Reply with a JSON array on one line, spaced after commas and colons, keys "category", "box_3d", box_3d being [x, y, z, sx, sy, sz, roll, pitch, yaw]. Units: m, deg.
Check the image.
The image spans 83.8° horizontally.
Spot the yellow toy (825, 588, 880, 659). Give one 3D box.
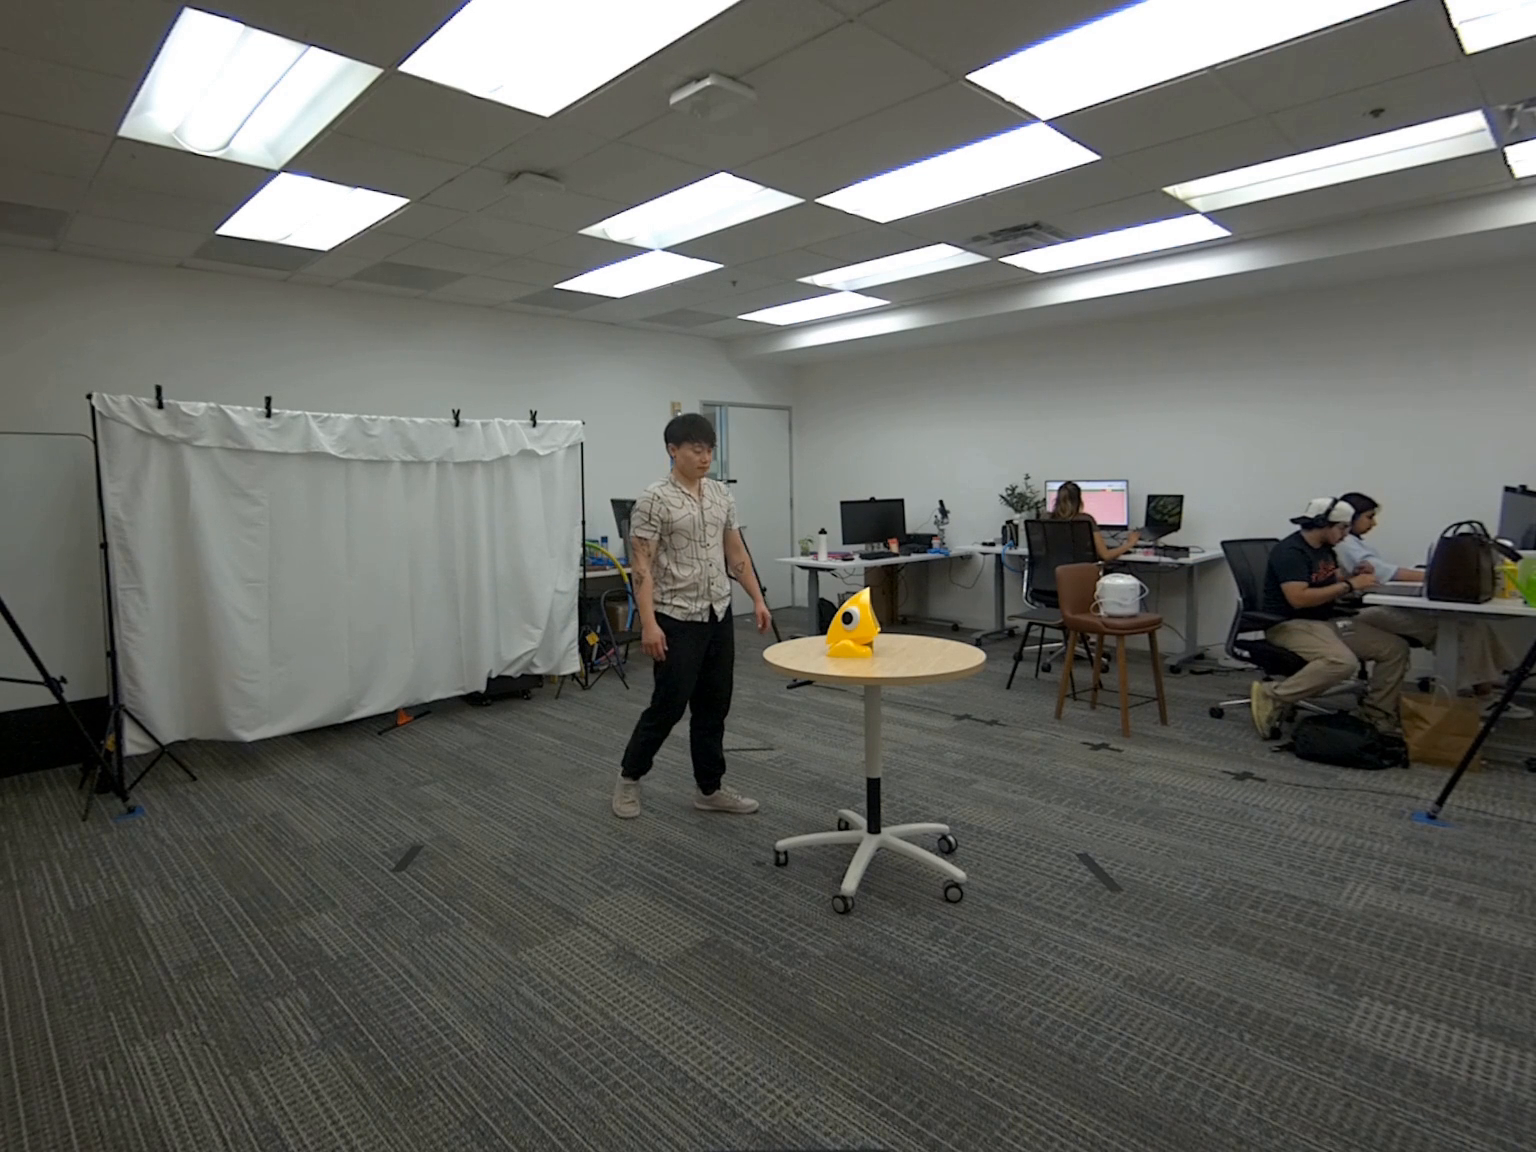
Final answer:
[{"category": "yellow toy", "box_3d": [0.303, 0.156, 3.010, 0.195, 0.230, 0.203, -1, 4, 10]}]
